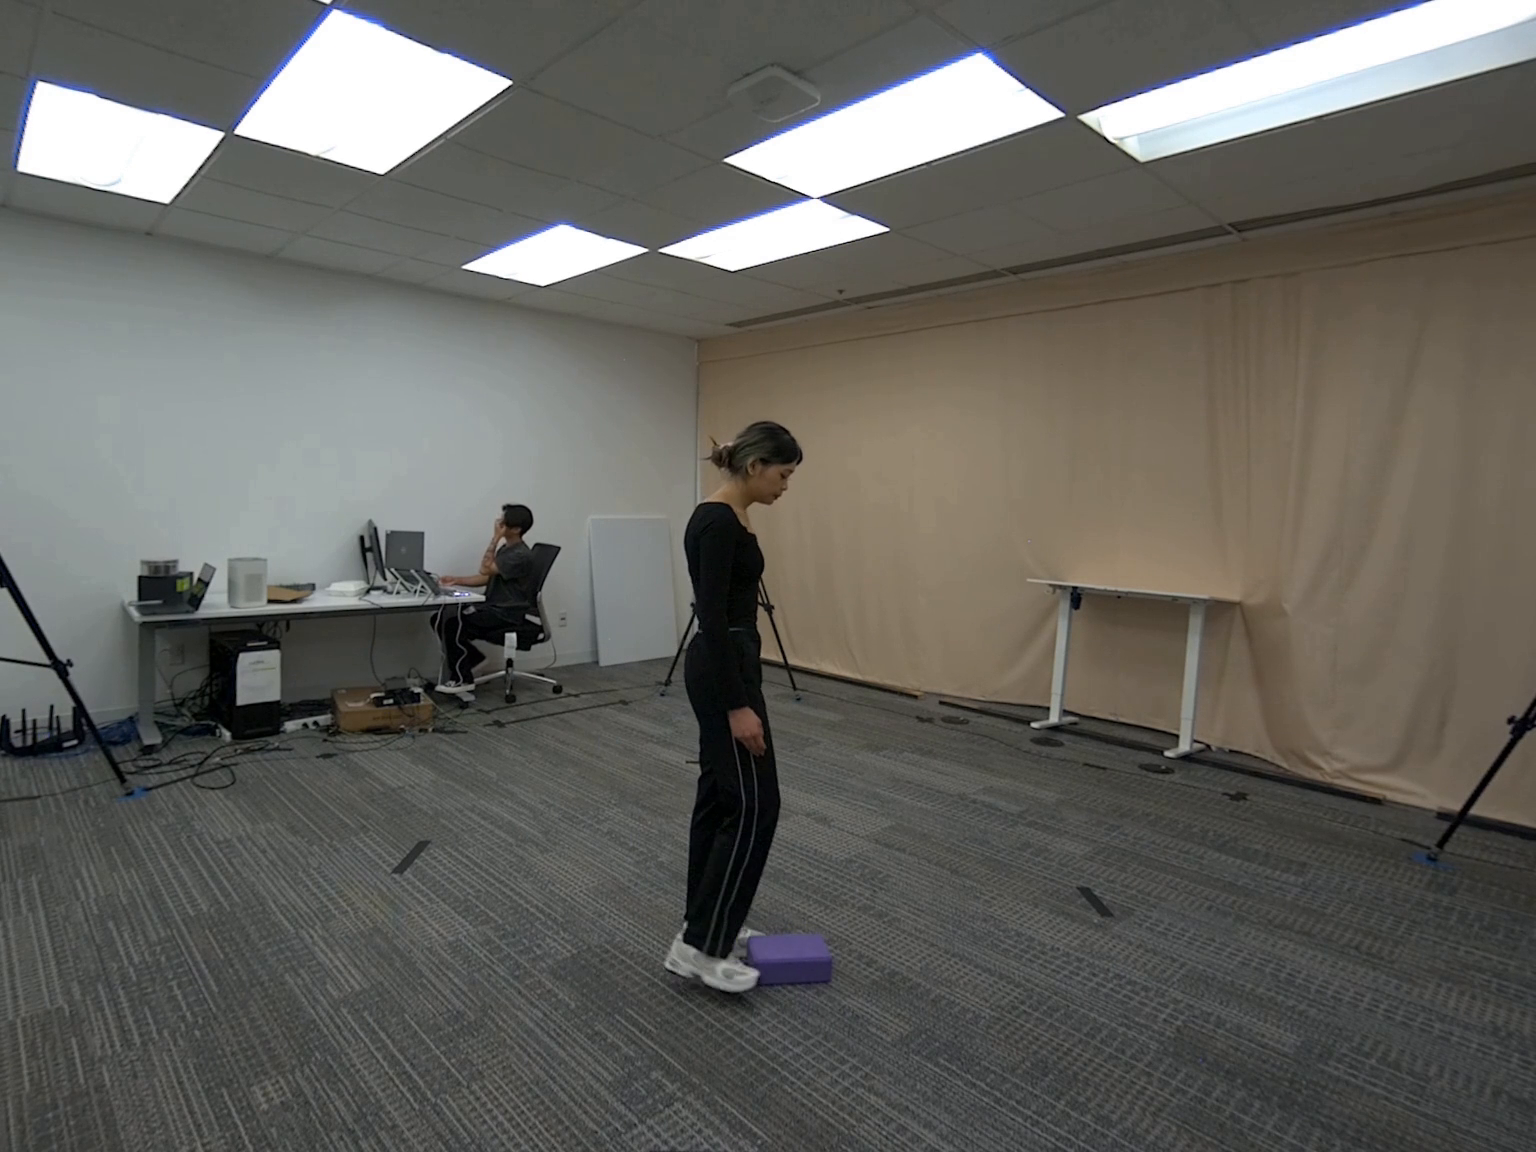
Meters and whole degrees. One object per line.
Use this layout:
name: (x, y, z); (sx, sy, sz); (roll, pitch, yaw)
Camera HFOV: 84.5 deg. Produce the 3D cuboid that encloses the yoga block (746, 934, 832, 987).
yoga block: (0.055, 1.128, 2.481); (0.228, 0.076, 0.150); (1, 4, -9)
